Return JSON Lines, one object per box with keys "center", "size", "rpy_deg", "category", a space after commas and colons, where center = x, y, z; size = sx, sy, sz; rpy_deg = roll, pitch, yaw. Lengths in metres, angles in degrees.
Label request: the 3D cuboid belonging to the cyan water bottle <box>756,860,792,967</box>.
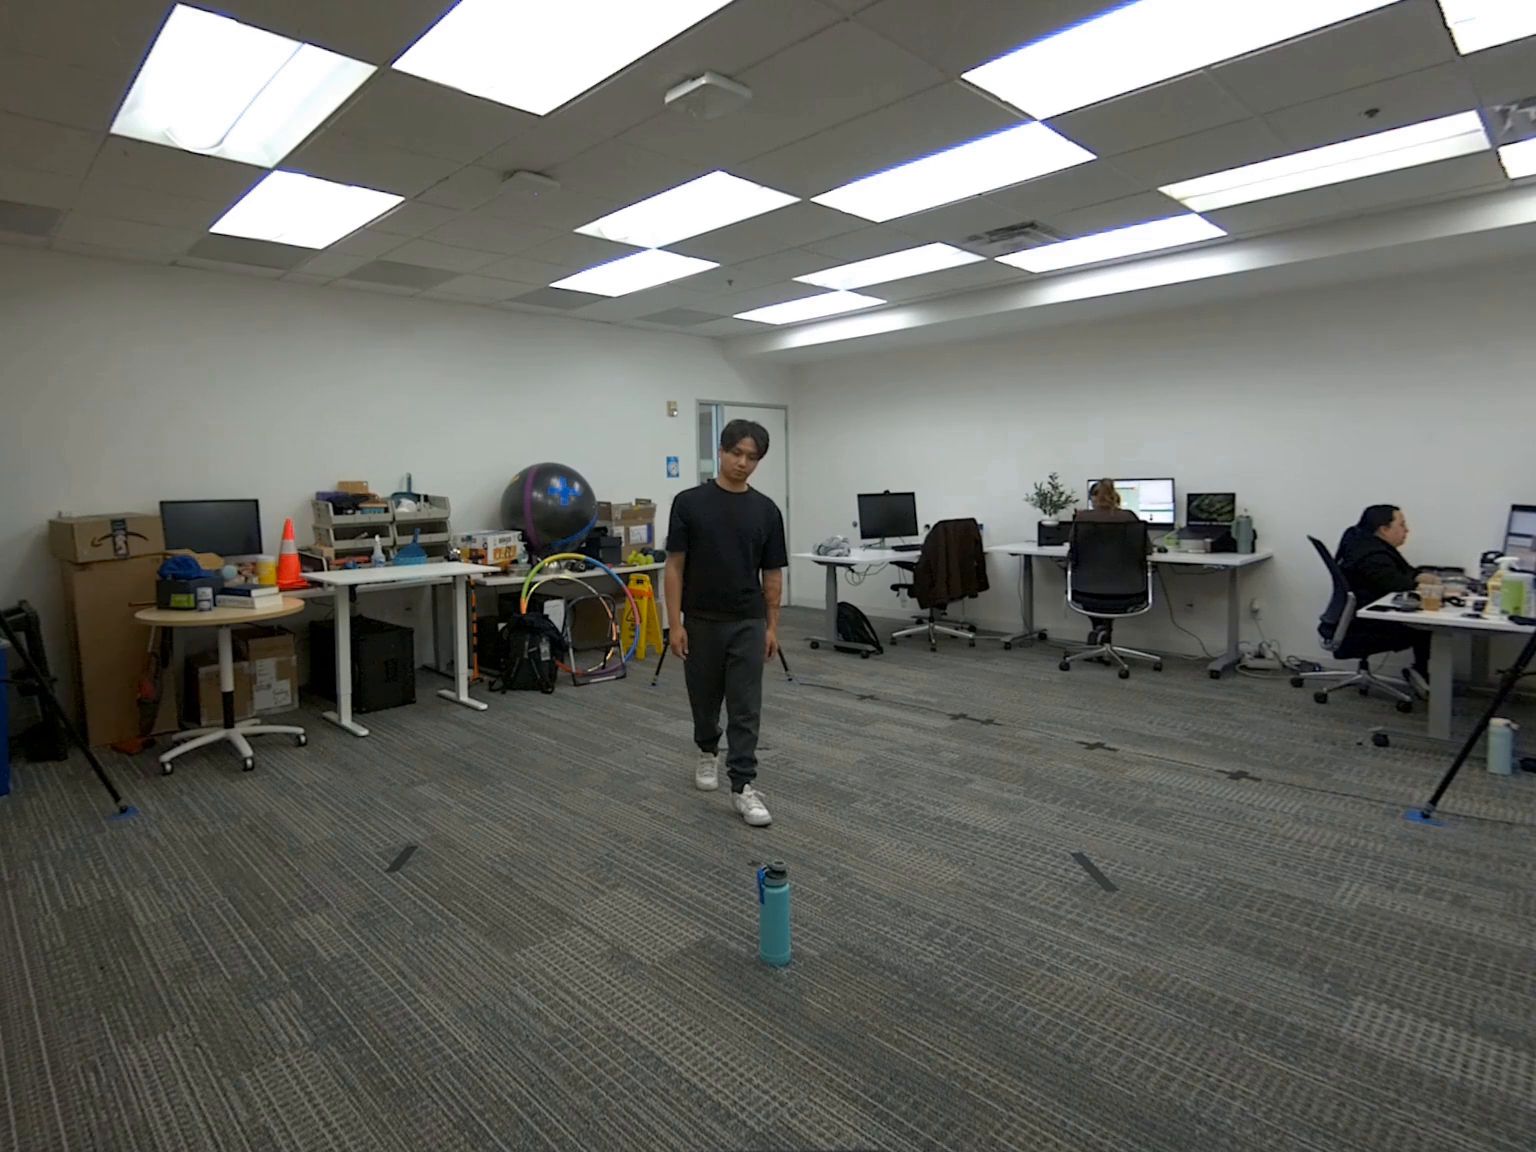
{"center": [0.021, 0.980, 2.483], "size": [0.092, 0.282, 0.093], "rpy_deg": [-2, 3, -1], "category": "cyan water bottle"}
